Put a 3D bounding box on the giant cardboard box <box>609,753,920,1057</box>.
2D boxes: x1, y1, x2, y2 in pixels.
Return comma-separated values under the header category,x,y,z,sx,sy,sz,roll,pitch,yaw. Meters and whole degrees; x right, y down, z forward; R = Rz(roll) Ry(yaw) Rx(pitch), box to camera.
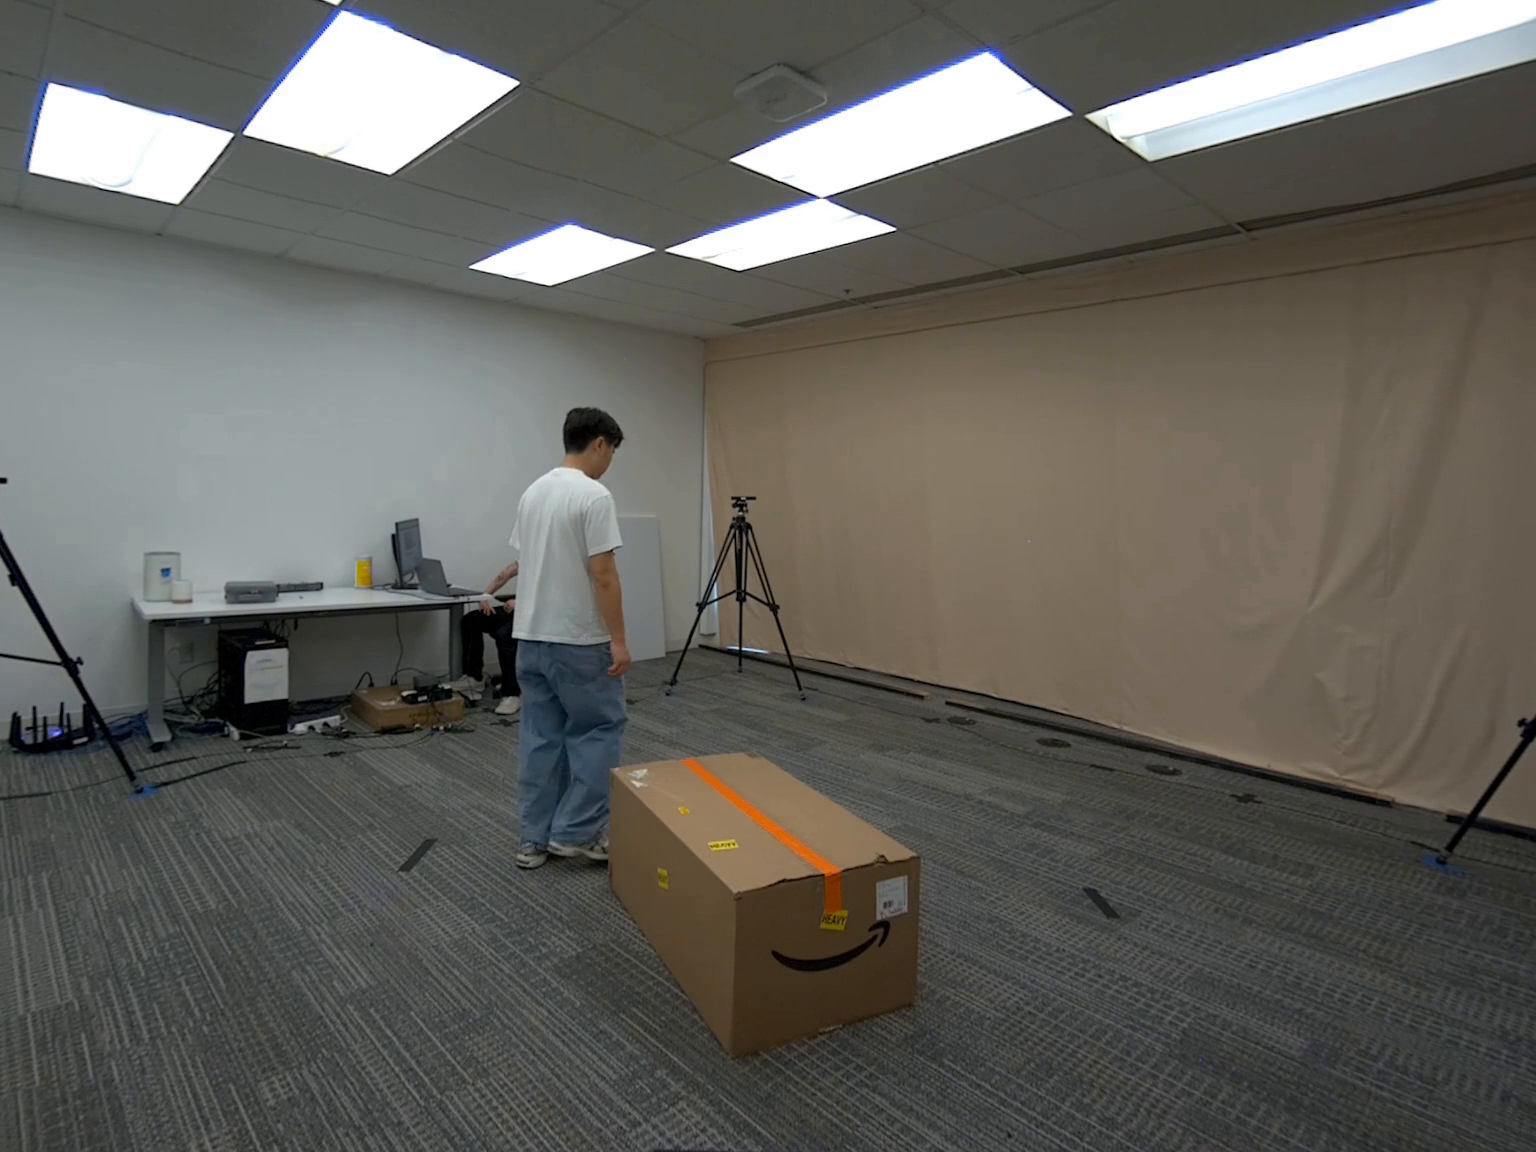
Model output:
category,x,y,z,sx,sy,sz,roll,pitch,yaw
giant cardboard box,-0.074,0.936,2.653,0.567,0.425,1.048,-1,6,-27
